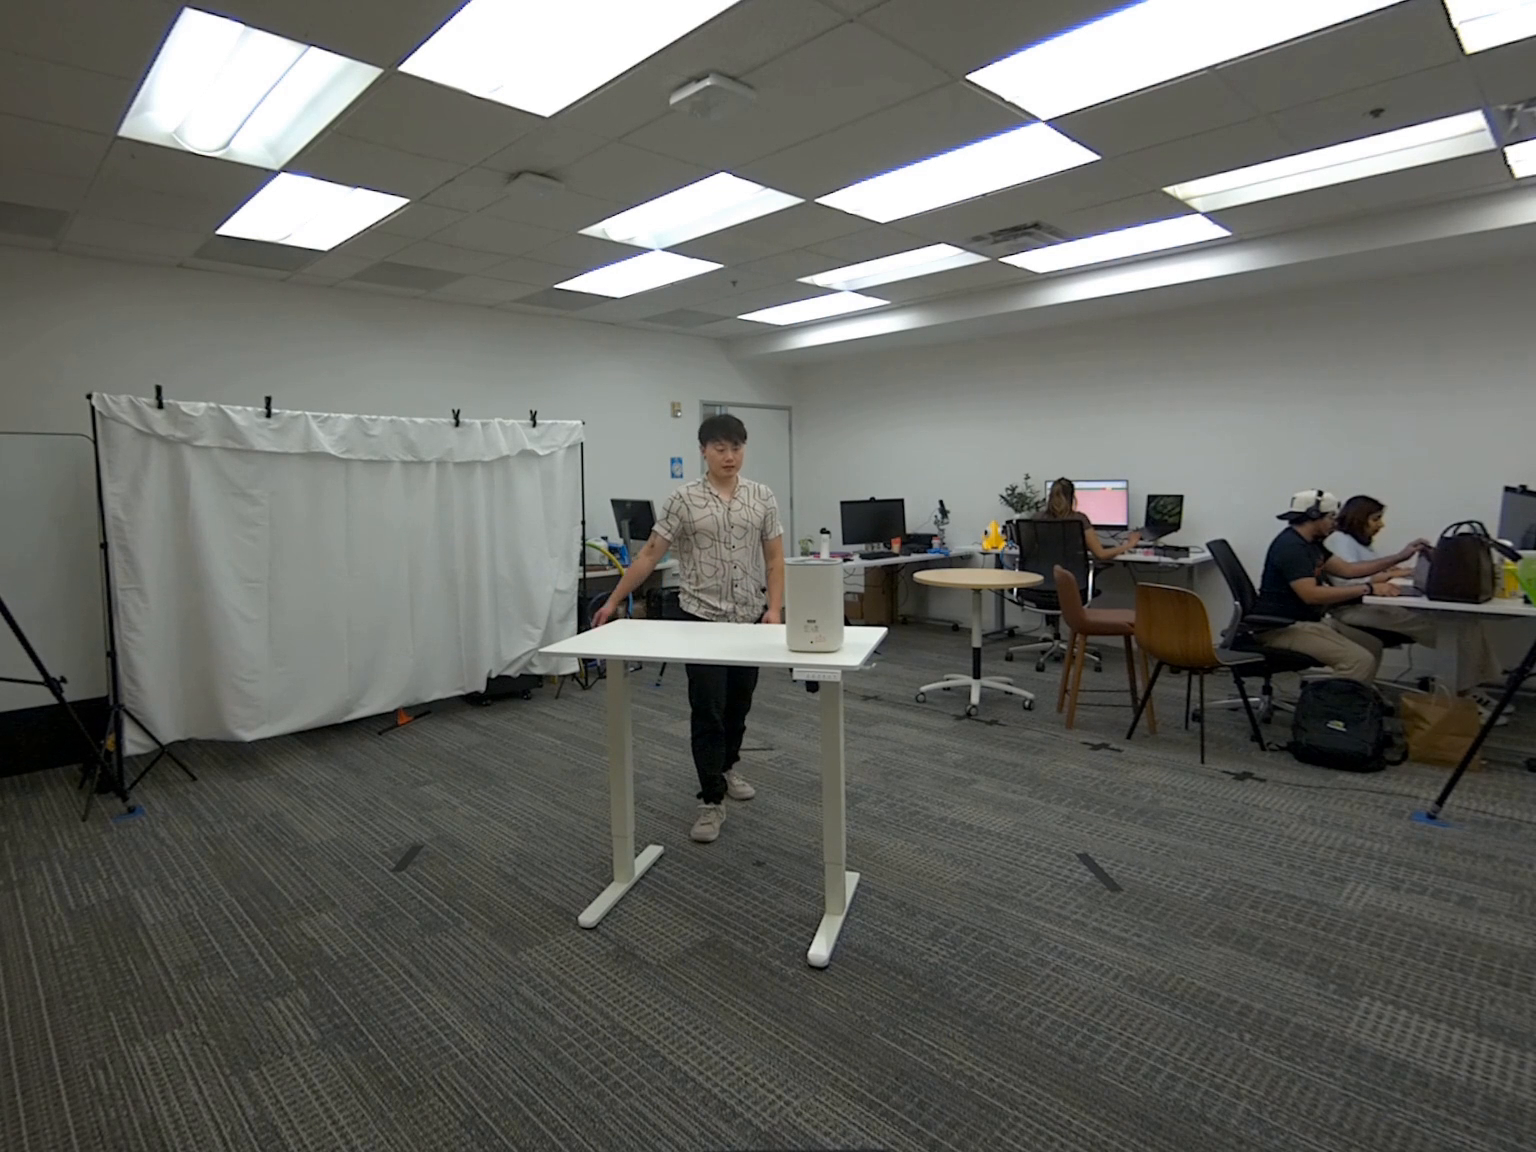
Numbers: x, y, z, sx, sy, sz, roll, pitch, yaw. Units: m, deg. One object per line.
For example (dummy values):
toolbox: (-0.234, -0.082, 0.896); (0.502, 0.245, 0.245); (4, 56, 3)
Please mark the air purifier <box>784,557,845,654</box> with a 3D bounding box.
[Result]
air purifier: (0.134, 0.090, 2.592); (0.173, 0.264, 0.170); (-2, 4, 10)
